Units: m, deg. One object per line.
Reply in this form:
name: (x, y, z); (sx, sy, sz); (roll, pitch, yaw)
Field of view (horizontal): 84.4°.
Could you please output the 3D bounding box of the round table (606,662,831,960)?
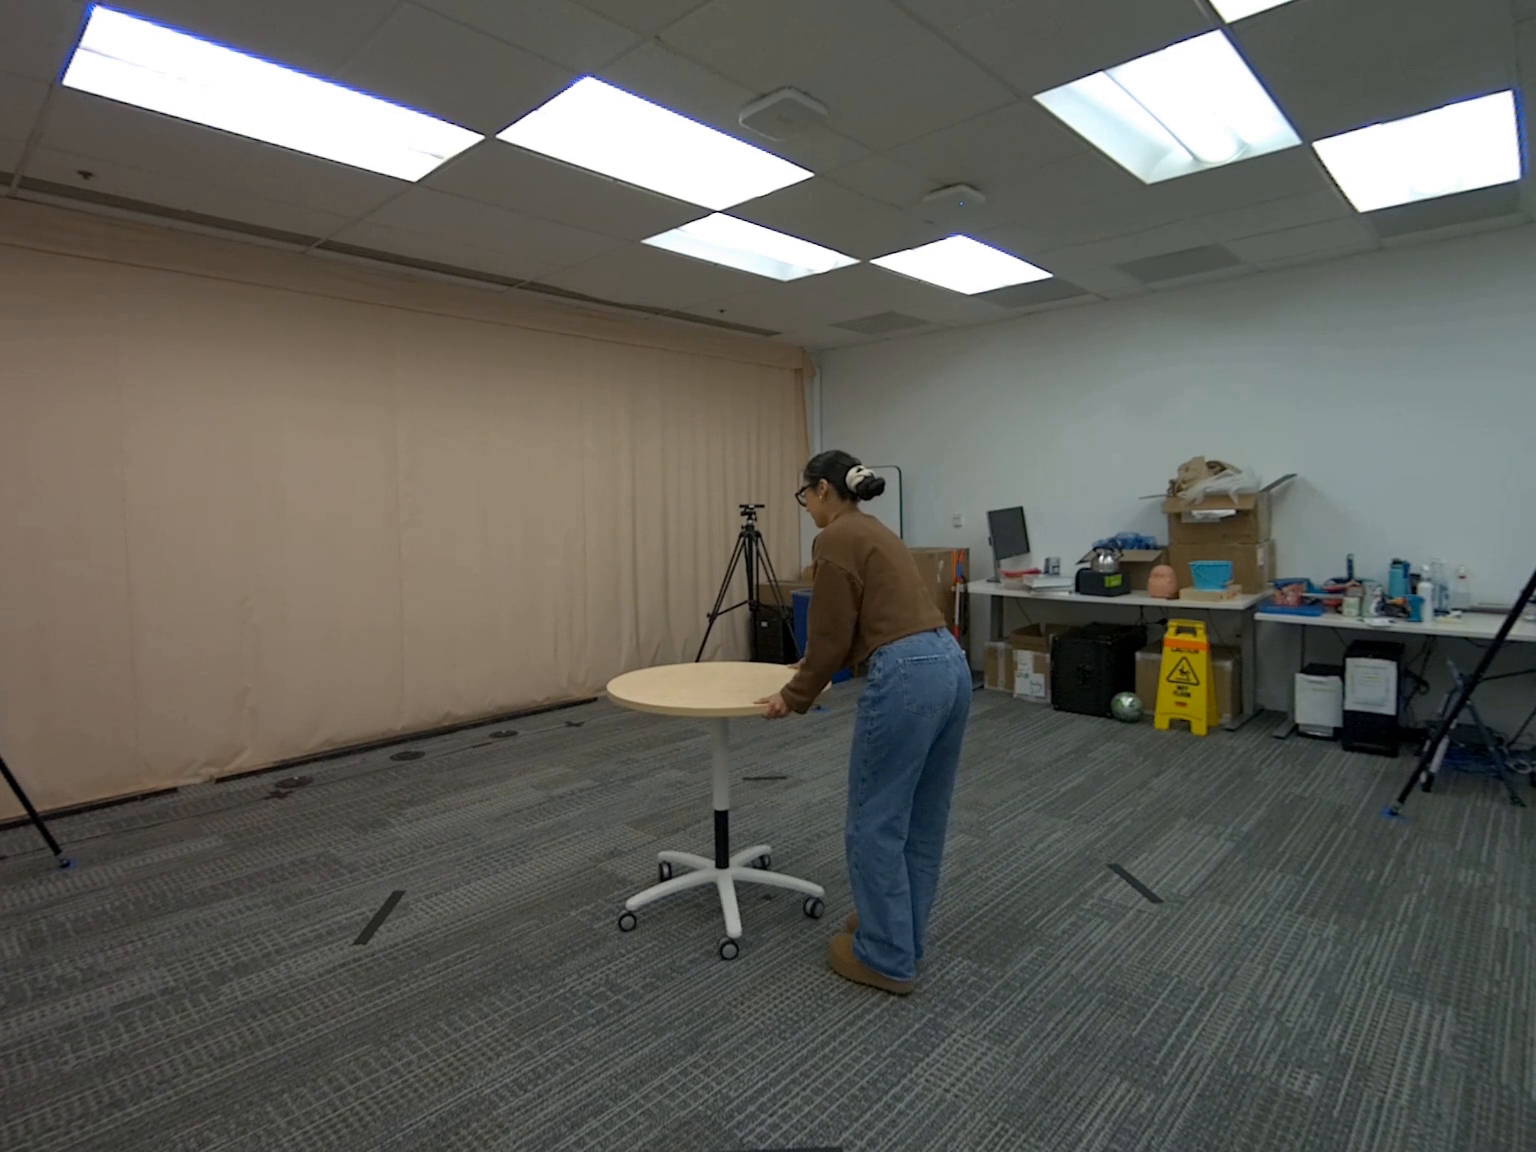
round table: (-0.162, 0.759, 2.904); (0.763, 0.792, 0.766); (-1, 3, -2)
